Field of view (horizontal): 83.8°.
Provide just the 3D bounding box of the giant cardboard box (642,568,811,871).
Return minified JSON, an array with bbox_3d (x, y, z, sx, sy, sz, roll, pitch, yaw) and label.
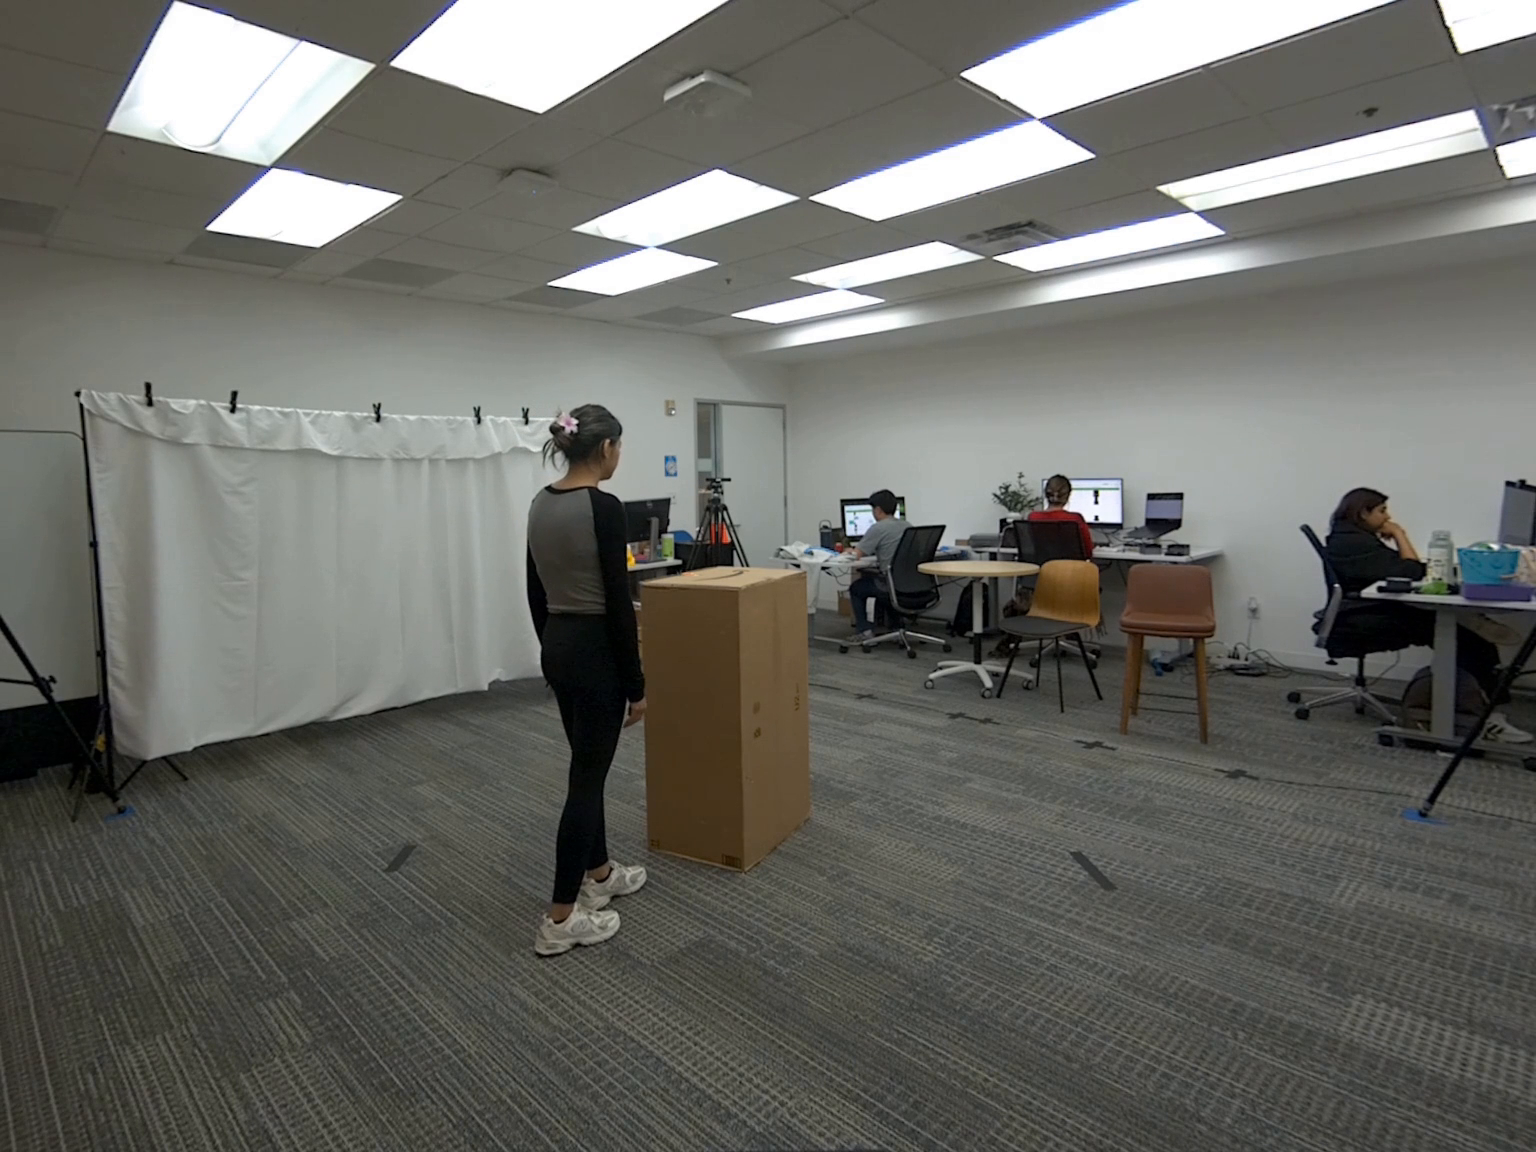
[{"bbox_3d":[-0.152,0.510,3.340,0.458,1.023,0.572,2,5,28],"label":"giant cardboard box"}]
